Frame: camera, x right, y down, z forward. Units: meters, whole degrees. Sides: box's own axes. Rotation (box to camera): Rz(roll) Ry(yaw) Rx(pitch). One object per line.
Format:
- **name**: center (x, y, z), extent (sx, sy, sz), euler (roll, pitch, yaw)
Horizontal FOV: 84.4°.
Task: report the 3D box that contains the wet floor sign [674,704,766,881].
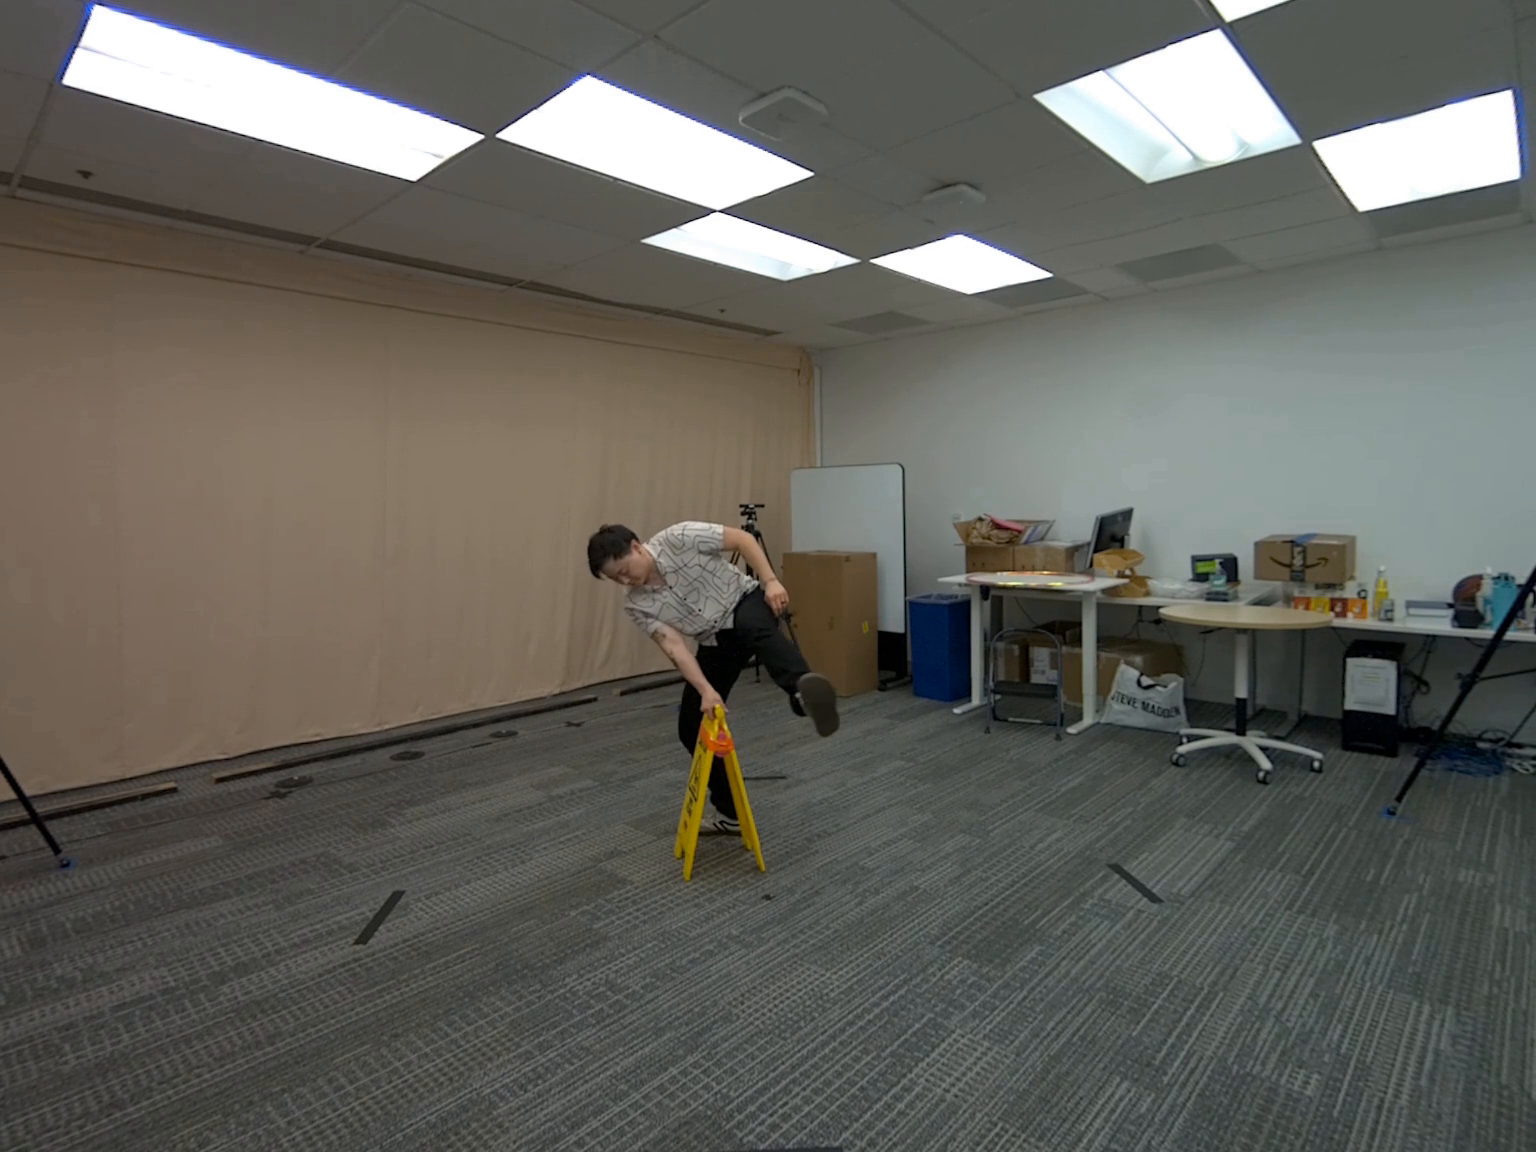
- **wet floor sign**: center (-0.200, 0.794, 3.263), extent (0.286, 0.644, 0.287), euler (-3, 3, -14)
